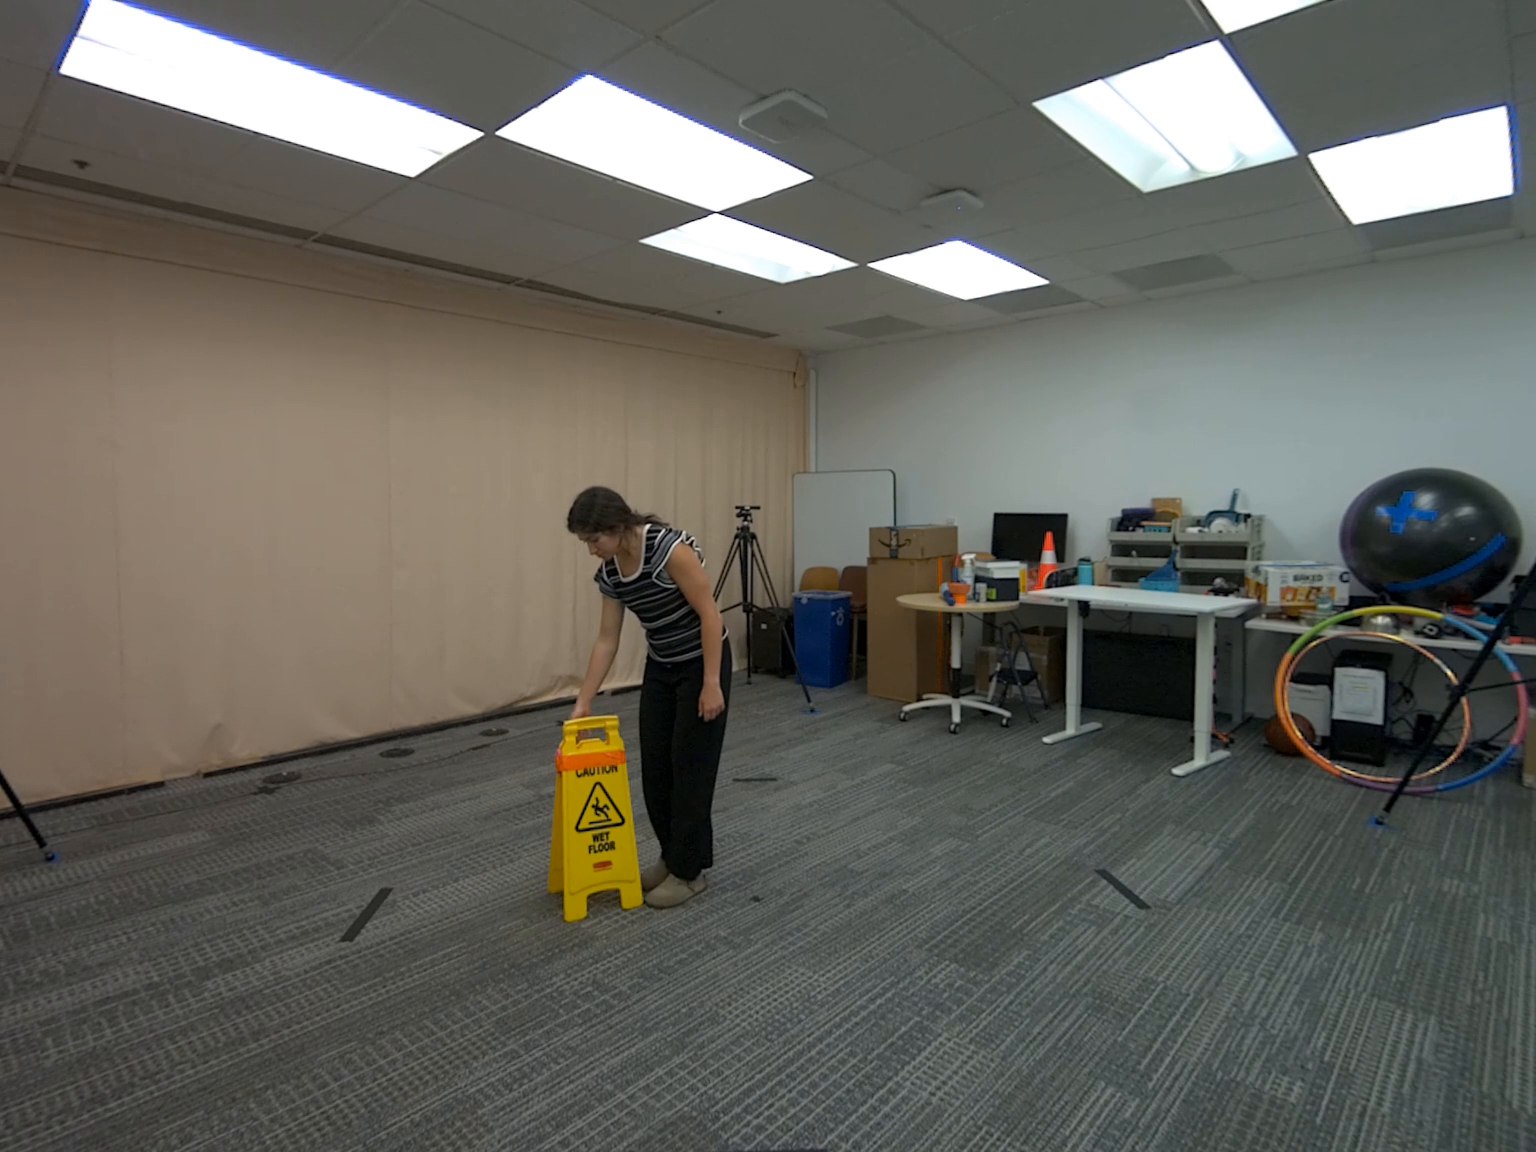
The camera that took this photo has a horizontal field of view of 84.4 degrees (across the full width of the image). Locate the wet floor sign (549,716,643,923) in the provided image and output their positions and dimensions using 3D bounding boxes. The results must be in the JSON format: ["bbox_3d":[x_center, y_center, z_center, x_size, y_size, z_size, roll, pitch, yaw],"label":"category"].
[{"bbox_3d":[-0.623,0.826,2.978,0.276,0.645,0.297,-2,2,-24],"label":"wet floor sign"}]
